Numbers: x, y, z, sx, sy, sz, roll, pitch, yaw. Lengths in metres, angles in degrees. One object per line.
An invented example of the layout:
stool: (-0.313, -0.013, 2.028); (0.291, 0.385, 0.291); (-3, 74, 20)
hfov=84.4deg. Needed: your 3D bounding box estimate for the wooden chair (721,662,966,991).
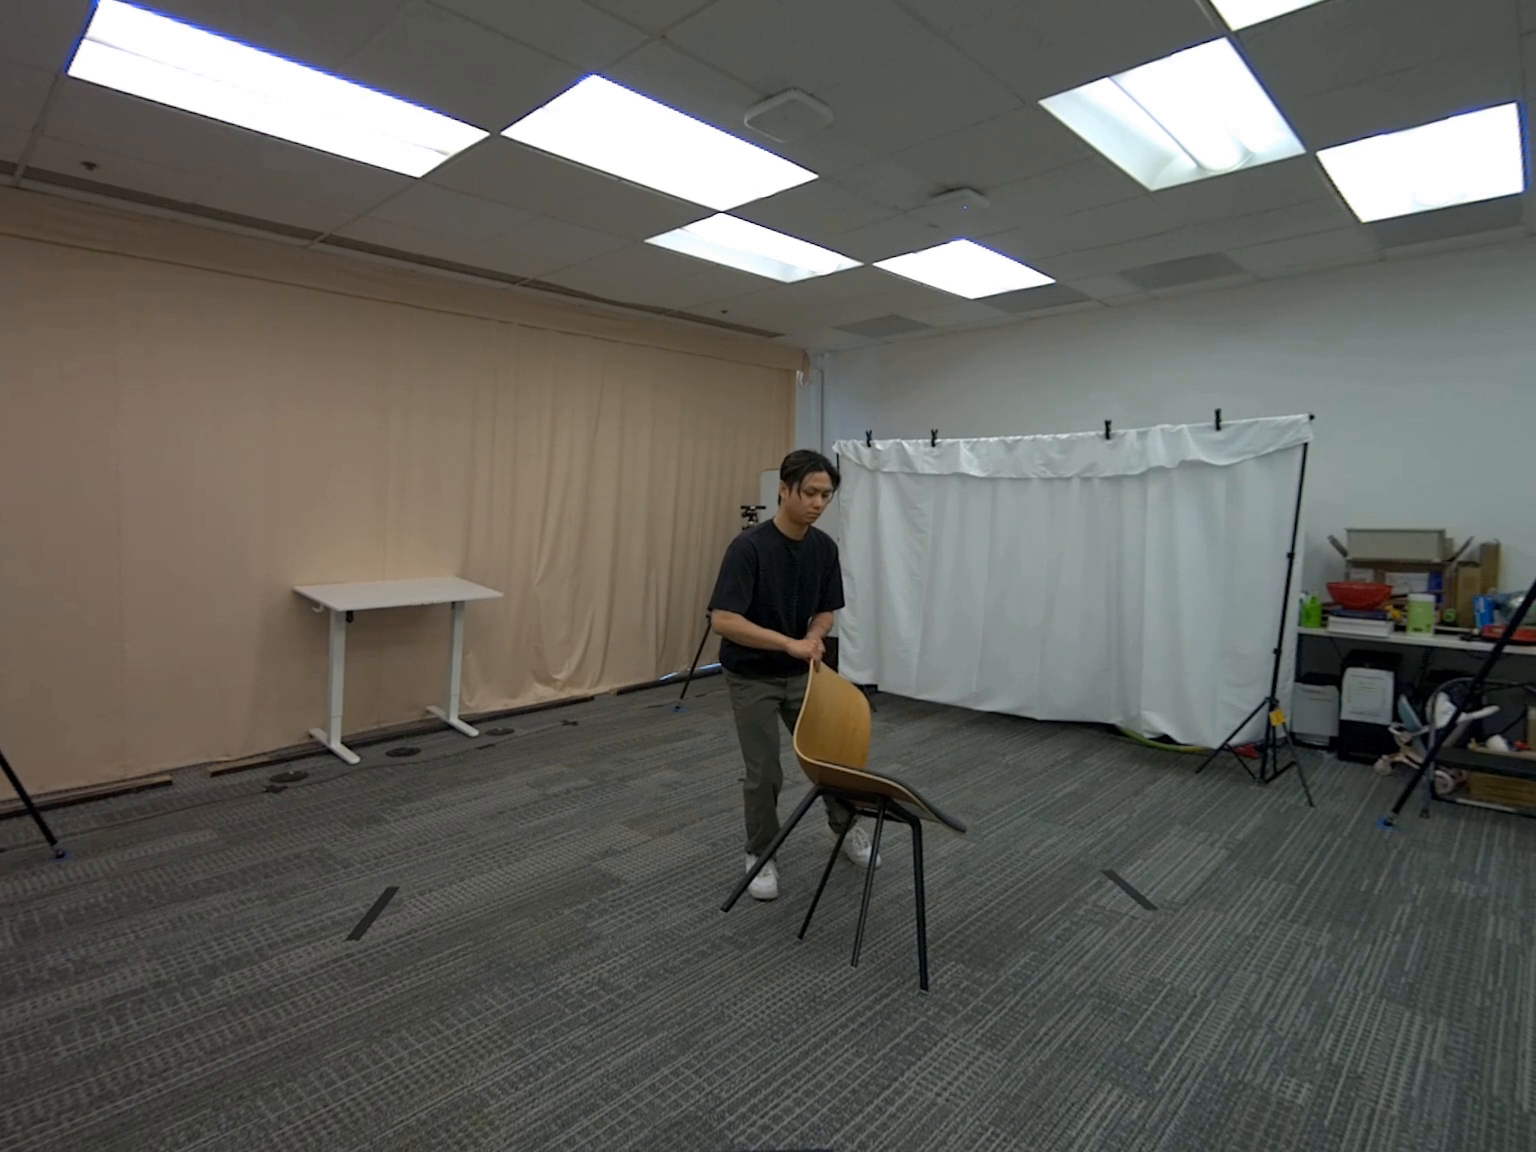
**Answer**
wooden chair: (0.309, 0.701, 2.545); (0.539, 0.883, 0.461); (-3, -30, 37)
